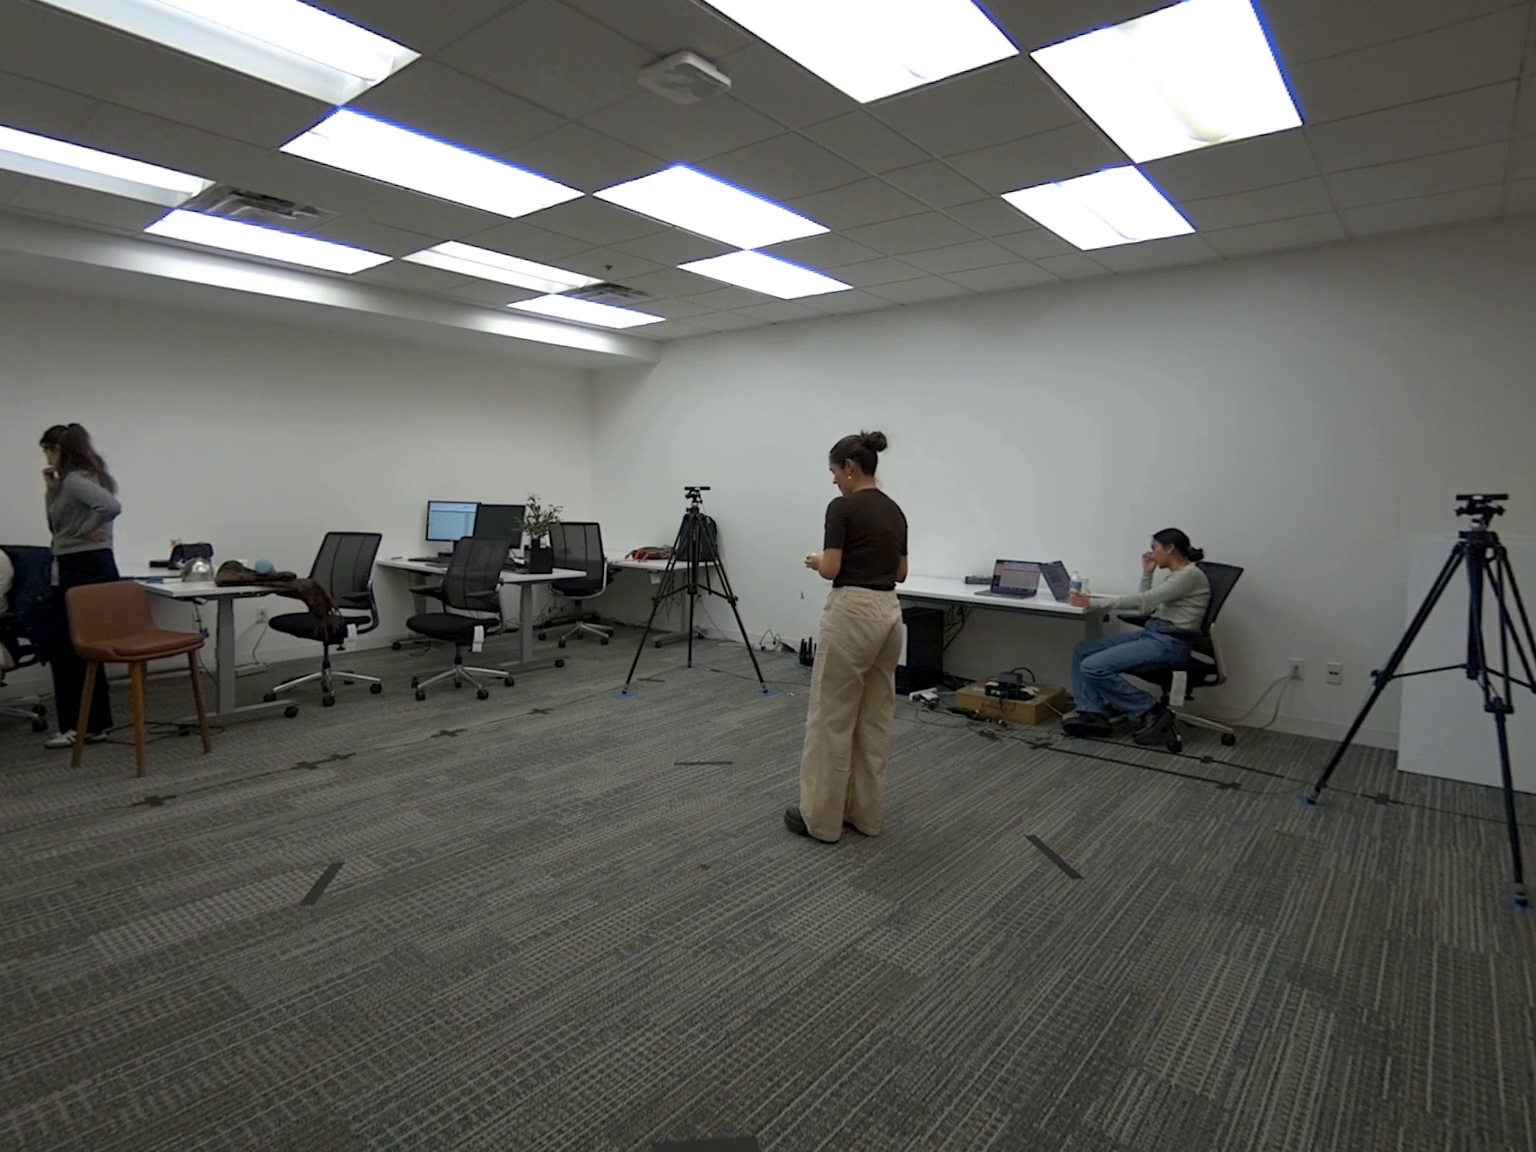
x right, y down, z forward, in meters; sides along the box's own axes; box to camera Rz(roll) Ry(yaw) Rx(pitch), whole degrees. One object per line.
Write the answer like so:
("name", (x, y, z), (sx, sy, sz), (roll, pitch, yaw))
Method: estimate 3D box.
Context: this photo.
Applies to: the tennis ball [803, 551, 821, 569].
("tennis ball", (0.191, -0.071, 3.649), (0.066, 0.066, 0.067), (1, 4, -2))
